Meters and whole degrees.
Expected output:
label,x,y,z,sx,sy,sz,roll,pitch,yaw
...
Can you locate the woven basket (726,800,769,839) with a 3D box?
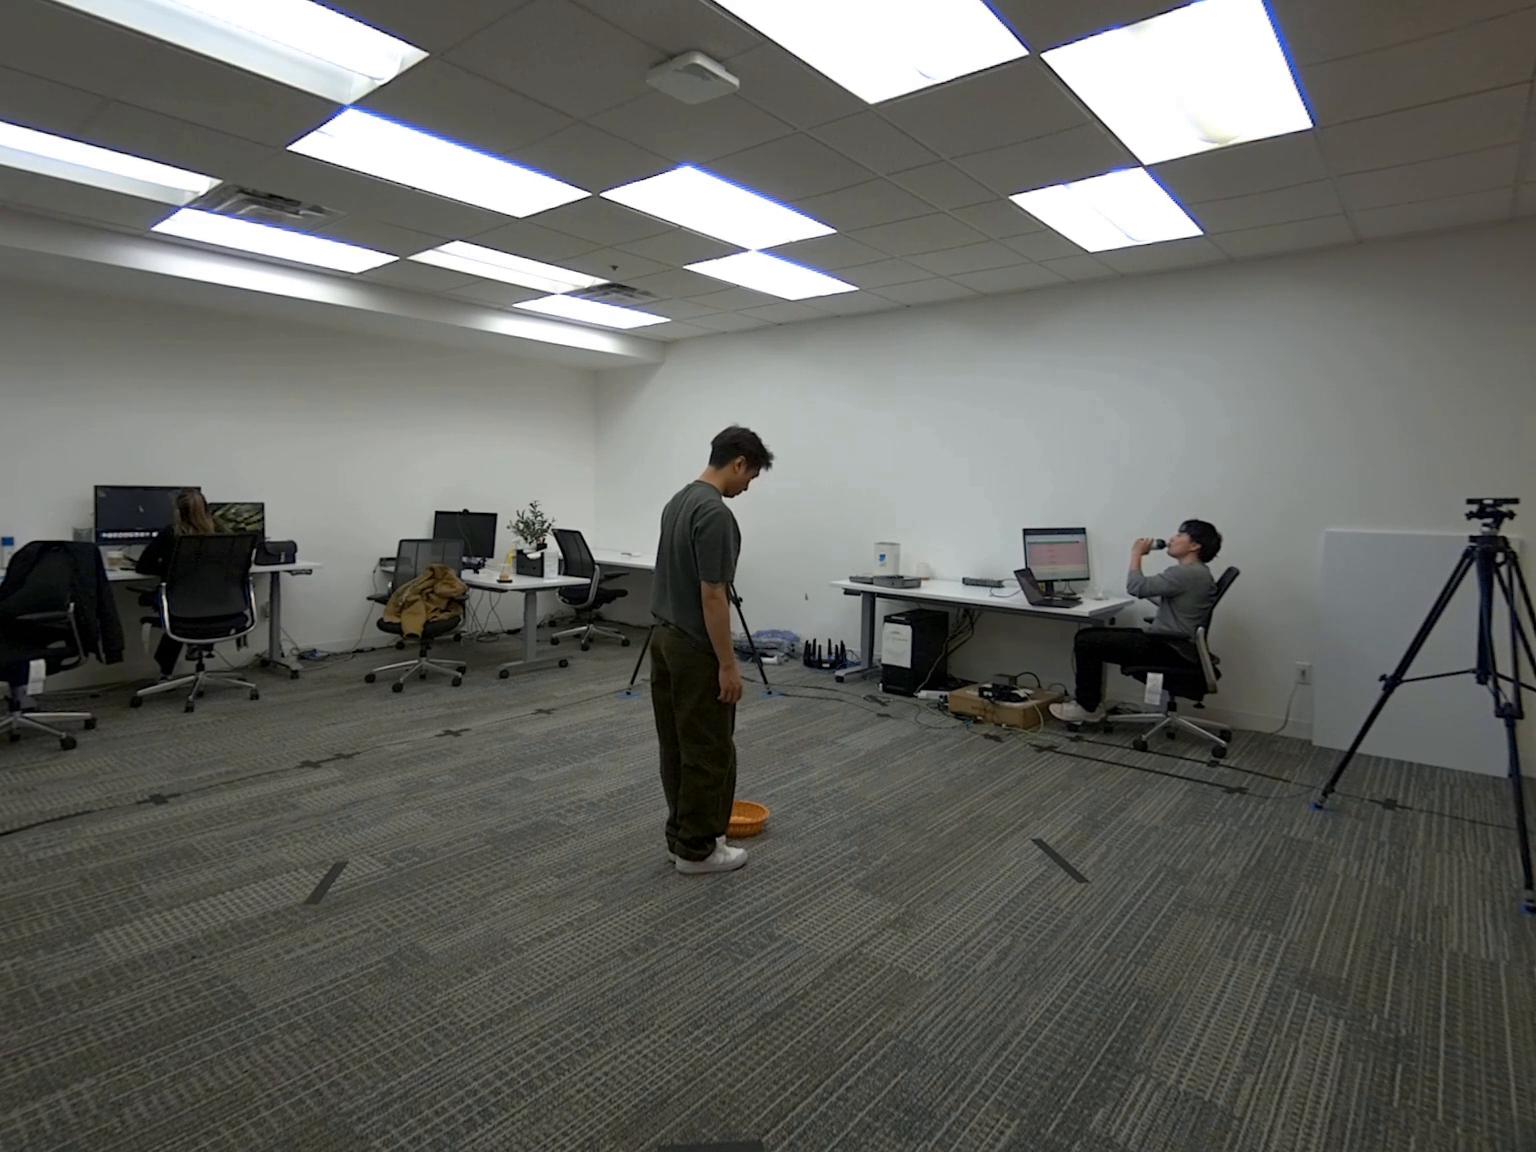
label,x,y,z,sx,sy,sz,roll,pitch,yaw
woven basket,-0.178,0.989,3.493,0.352,0.073,0.252,1,5,3
